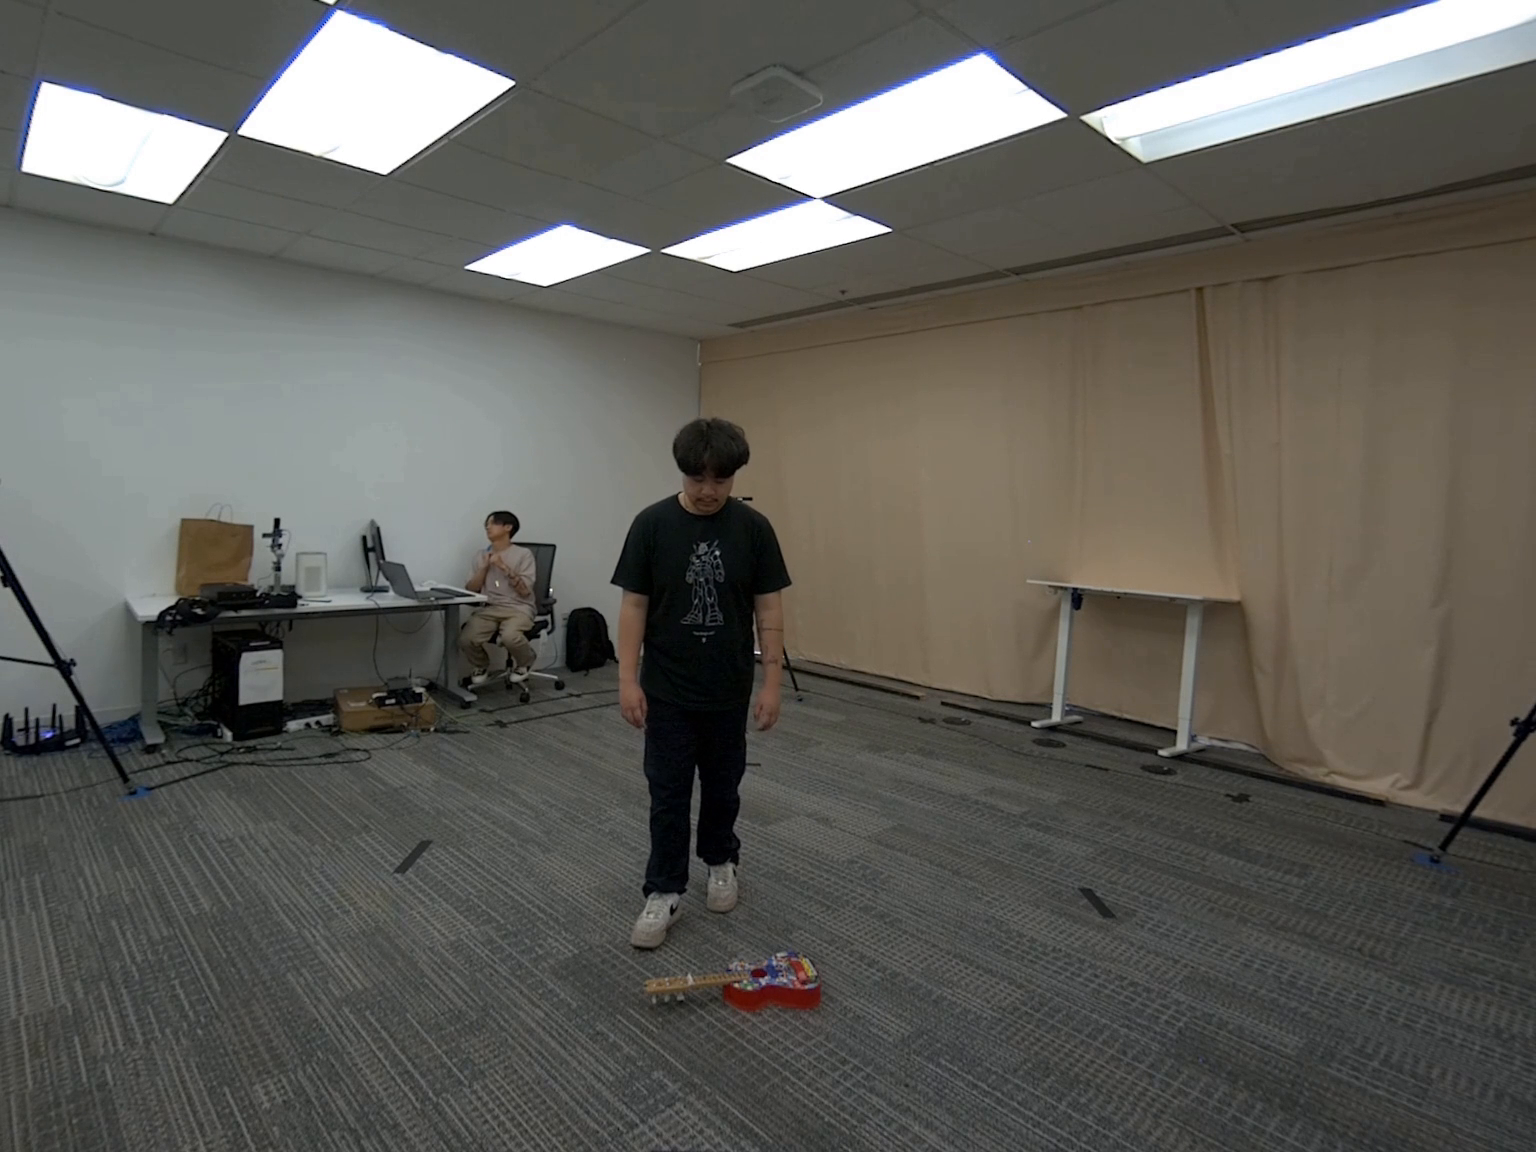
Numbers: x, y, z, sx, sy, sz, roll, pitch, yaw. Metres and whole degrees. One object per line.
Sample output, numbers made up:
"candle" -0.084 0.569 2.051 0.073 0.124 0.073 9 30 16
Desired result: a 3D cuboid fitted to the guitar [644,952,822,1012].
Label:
"guitar" -0.107 1.142 2.371 0.495 0.070 0.195 2 6 -6
